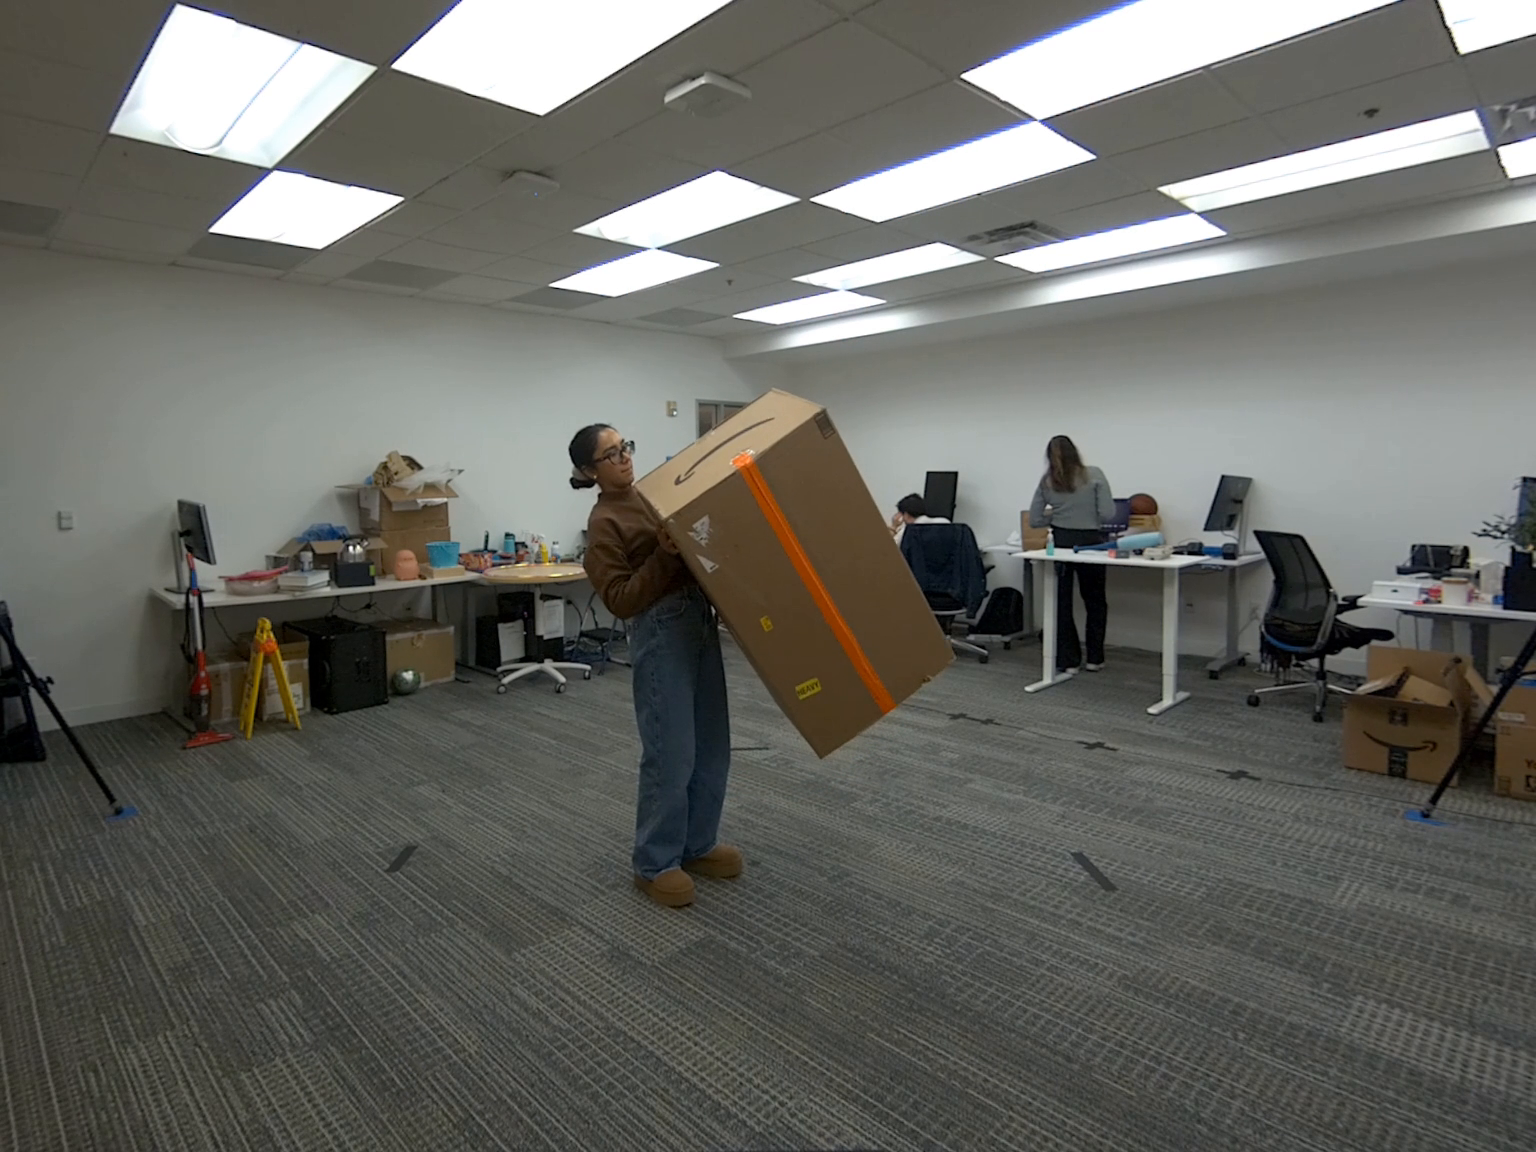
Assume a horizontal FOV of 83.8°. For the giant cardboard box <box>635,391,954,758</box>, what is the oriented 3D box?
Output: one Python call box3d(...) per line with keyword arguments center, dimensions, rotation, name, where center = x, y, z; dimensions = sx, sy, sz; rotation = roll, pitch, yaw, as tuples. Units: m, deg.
box3d(center=(0.097, -0.011, 2.828), dimensions=(0.576, 0.997, 0.439), rotation=(-34, 25, -6), name="giant cardboard box")
